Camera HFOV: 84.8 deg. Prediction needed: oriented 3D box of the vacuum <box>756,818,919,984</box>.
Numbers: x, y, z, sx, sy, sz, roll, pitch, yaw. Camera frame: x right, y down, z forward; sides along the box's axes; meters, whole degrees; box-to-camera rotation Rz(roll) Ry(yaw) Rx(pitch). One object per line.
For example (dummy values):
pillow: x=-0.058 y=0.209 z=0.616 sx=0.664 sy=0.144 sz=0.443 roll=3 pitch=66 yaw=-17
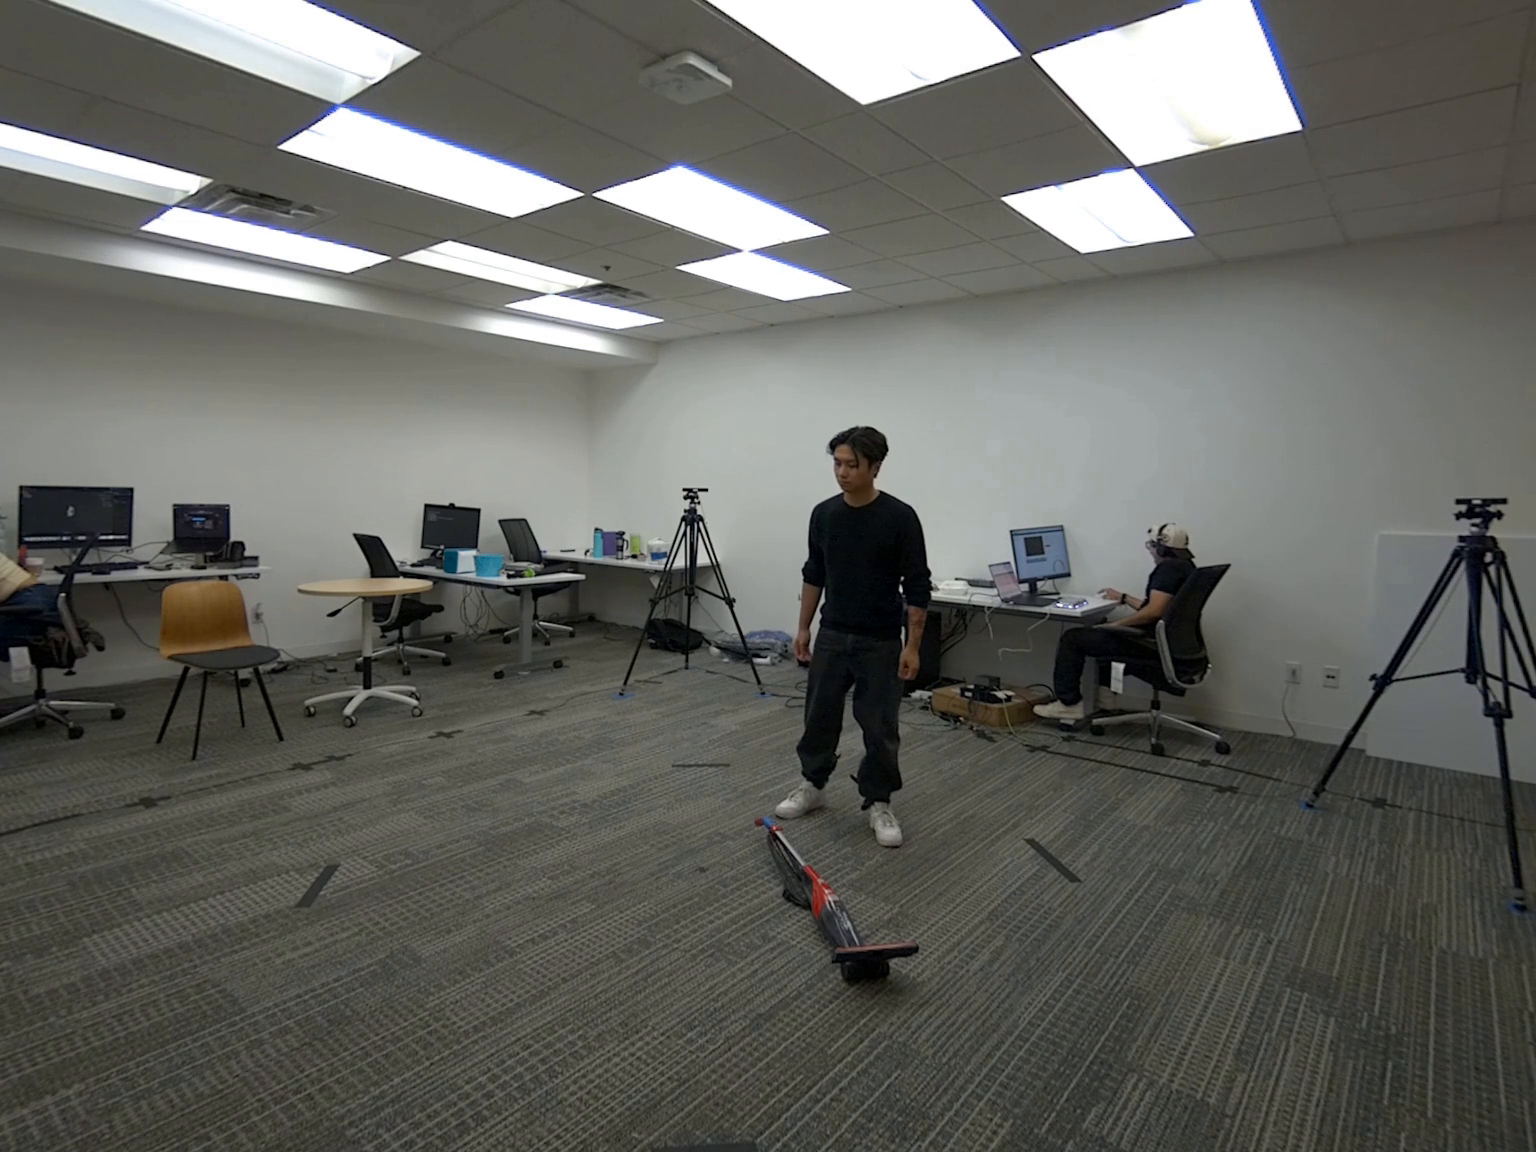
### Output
vacuum: x=0.116 y=1.033 z=2.903 sx=0.247 sy=0.144 sz=1.072 roll=5 pitch=3 yaw=-19
